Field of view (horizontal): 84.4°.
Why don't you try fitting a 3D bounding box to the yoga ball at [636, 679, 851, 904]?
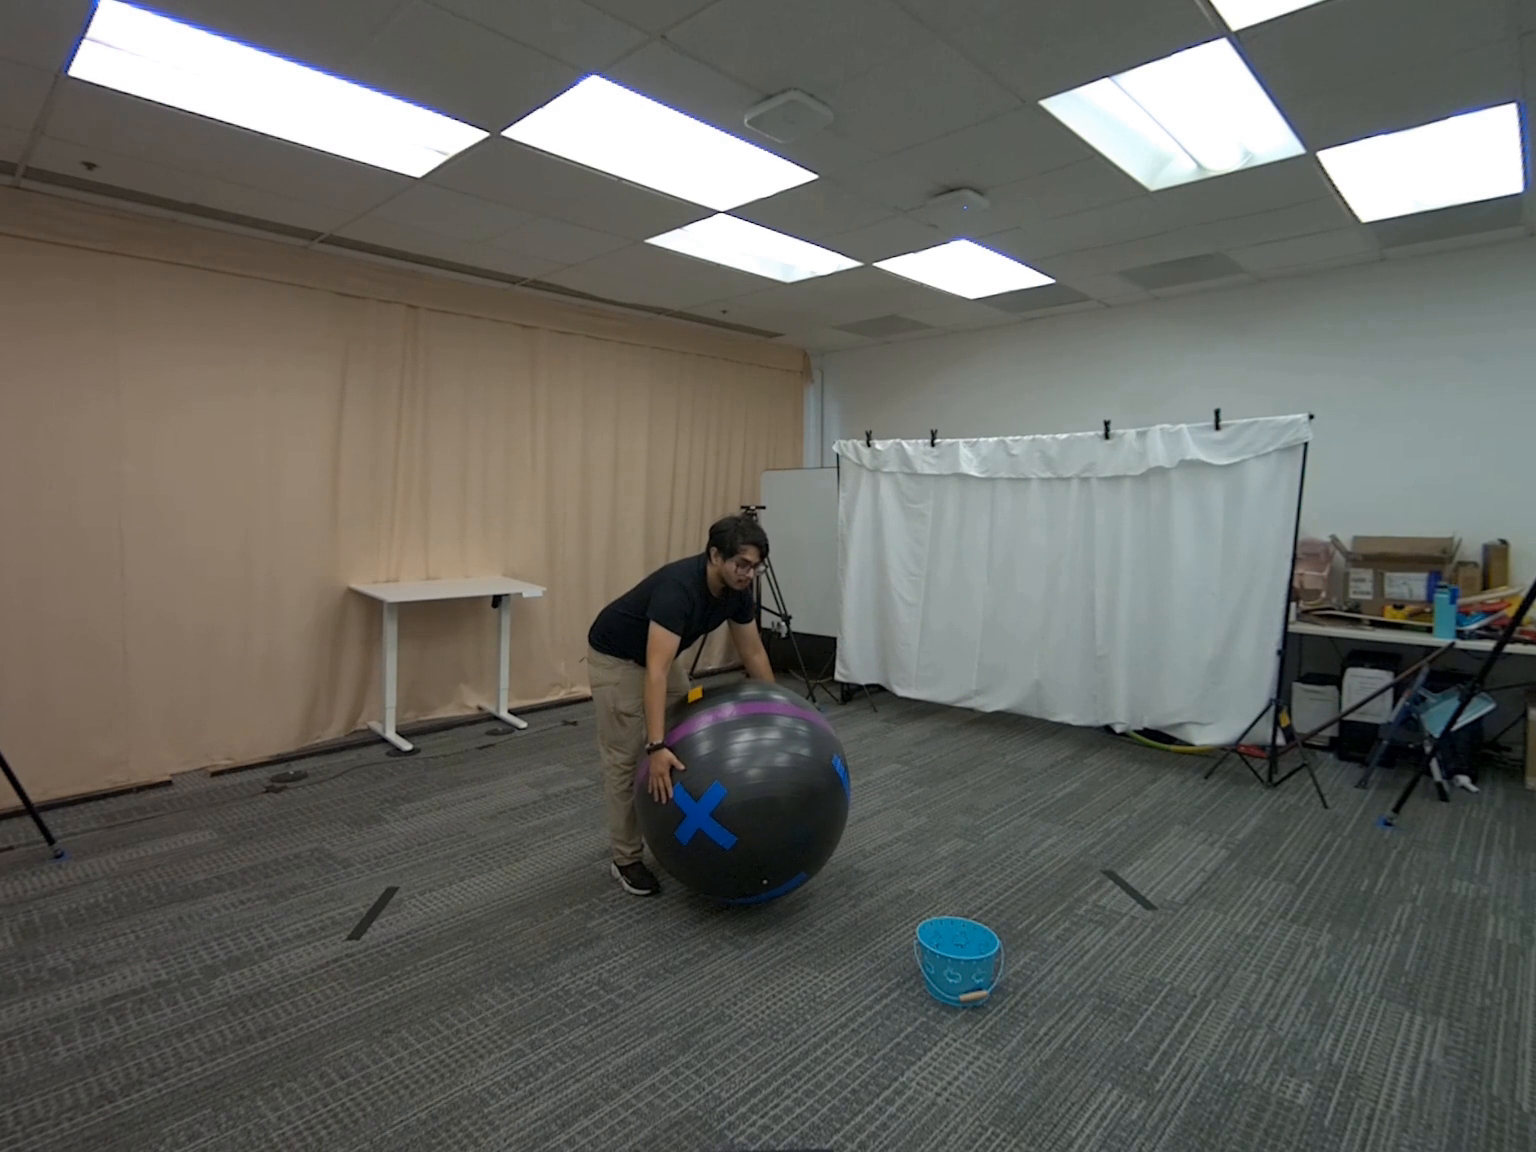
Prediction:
[{"bbox_3d":[-0.090,0.747,2.961,0.757,0.756,0.760,0,4,-2],"label":"yoga ball"}]
